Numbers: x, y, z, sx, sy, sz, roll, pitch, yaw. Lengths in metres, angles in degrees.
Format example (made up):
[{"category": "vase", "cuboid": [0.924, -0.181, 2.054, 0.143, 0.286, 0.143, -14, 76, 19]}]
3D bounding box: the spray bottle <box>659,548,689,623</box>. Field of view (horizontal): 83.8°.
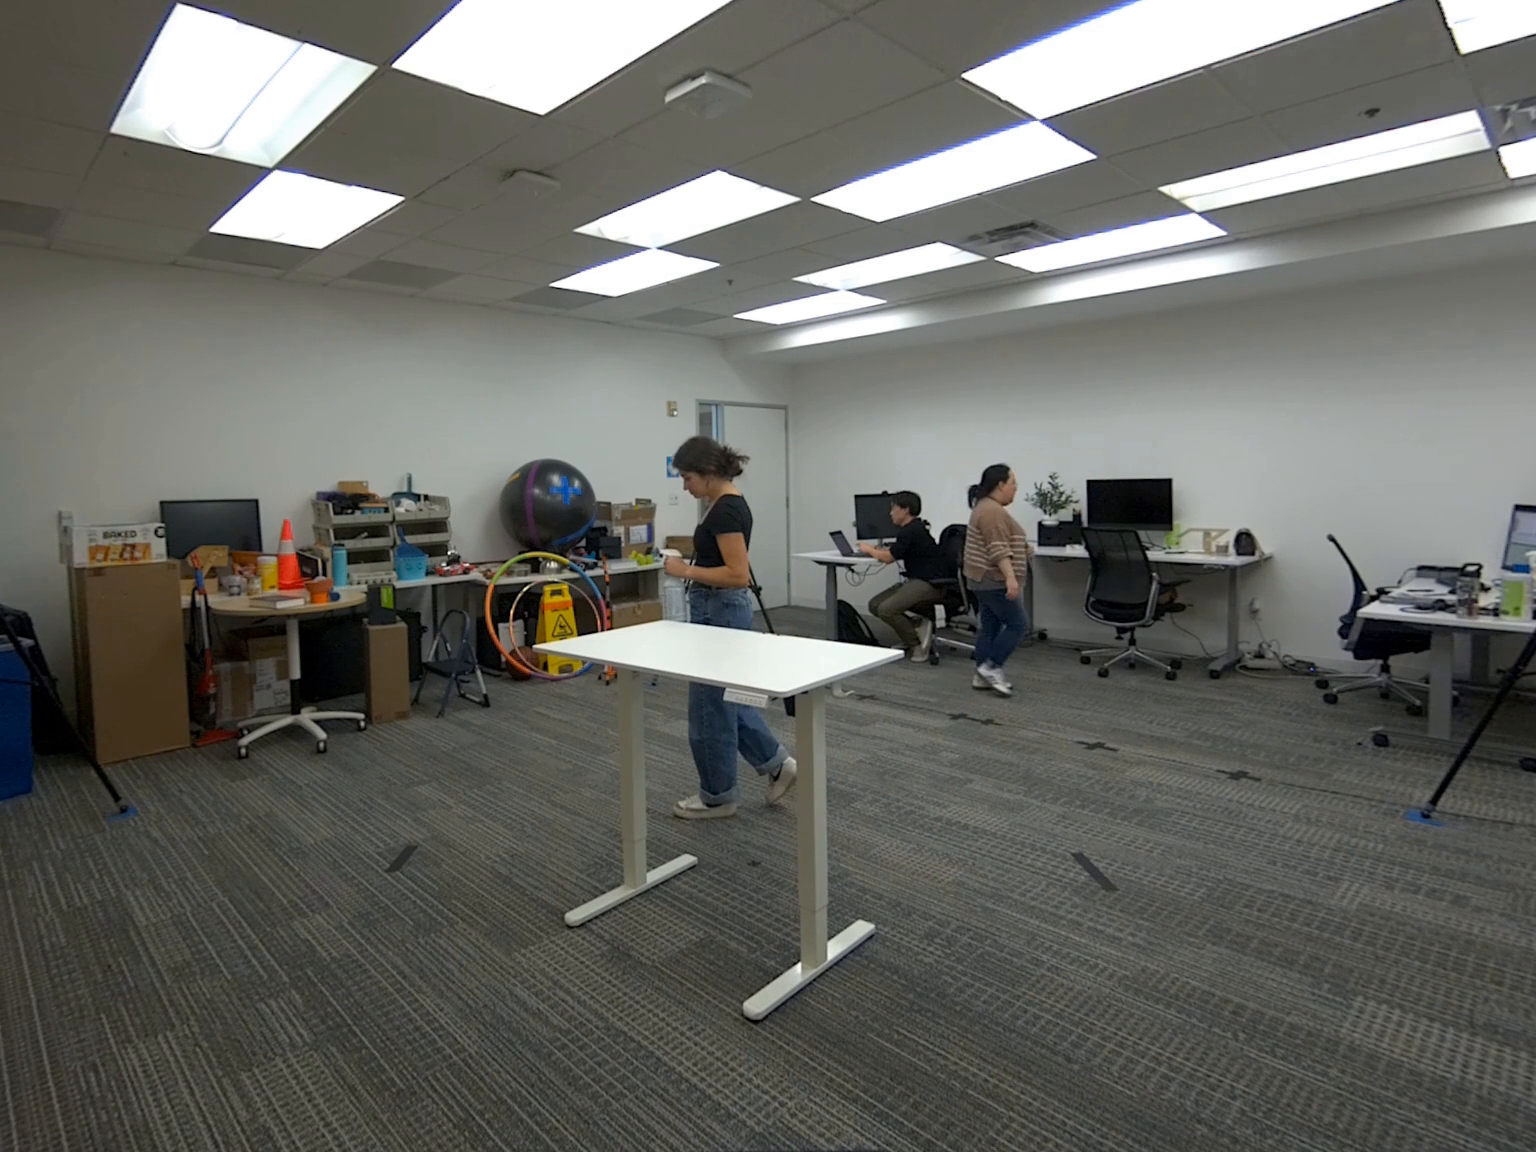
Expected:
[{"category": "spray bottle", "cuboid": [-0.364, 0.042, 3.380, 0.090, 0.297, 0.087, -5, 1, 2]}]
